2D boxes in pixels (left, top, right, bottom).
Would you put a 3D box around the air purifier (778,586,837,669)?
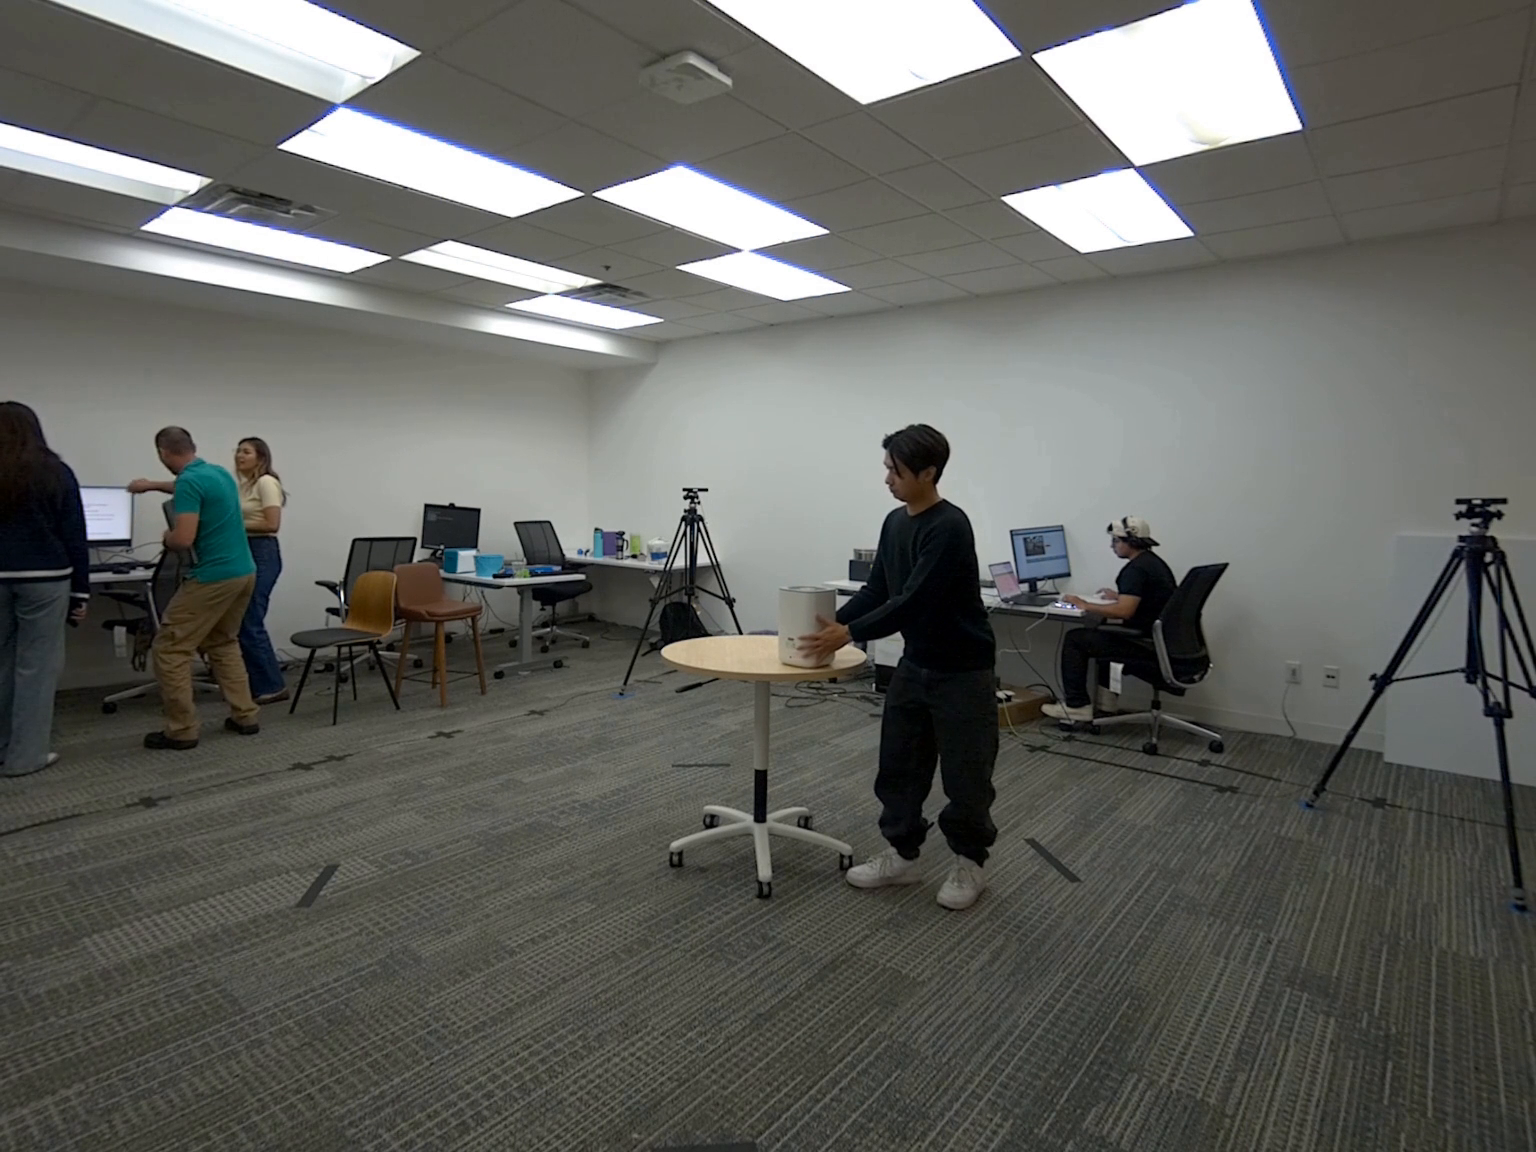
[{"bbox_3d":[0.126,0.169,2.973,0.177,0.264,0.166,5,5,42],"label":"air purifier"}]
